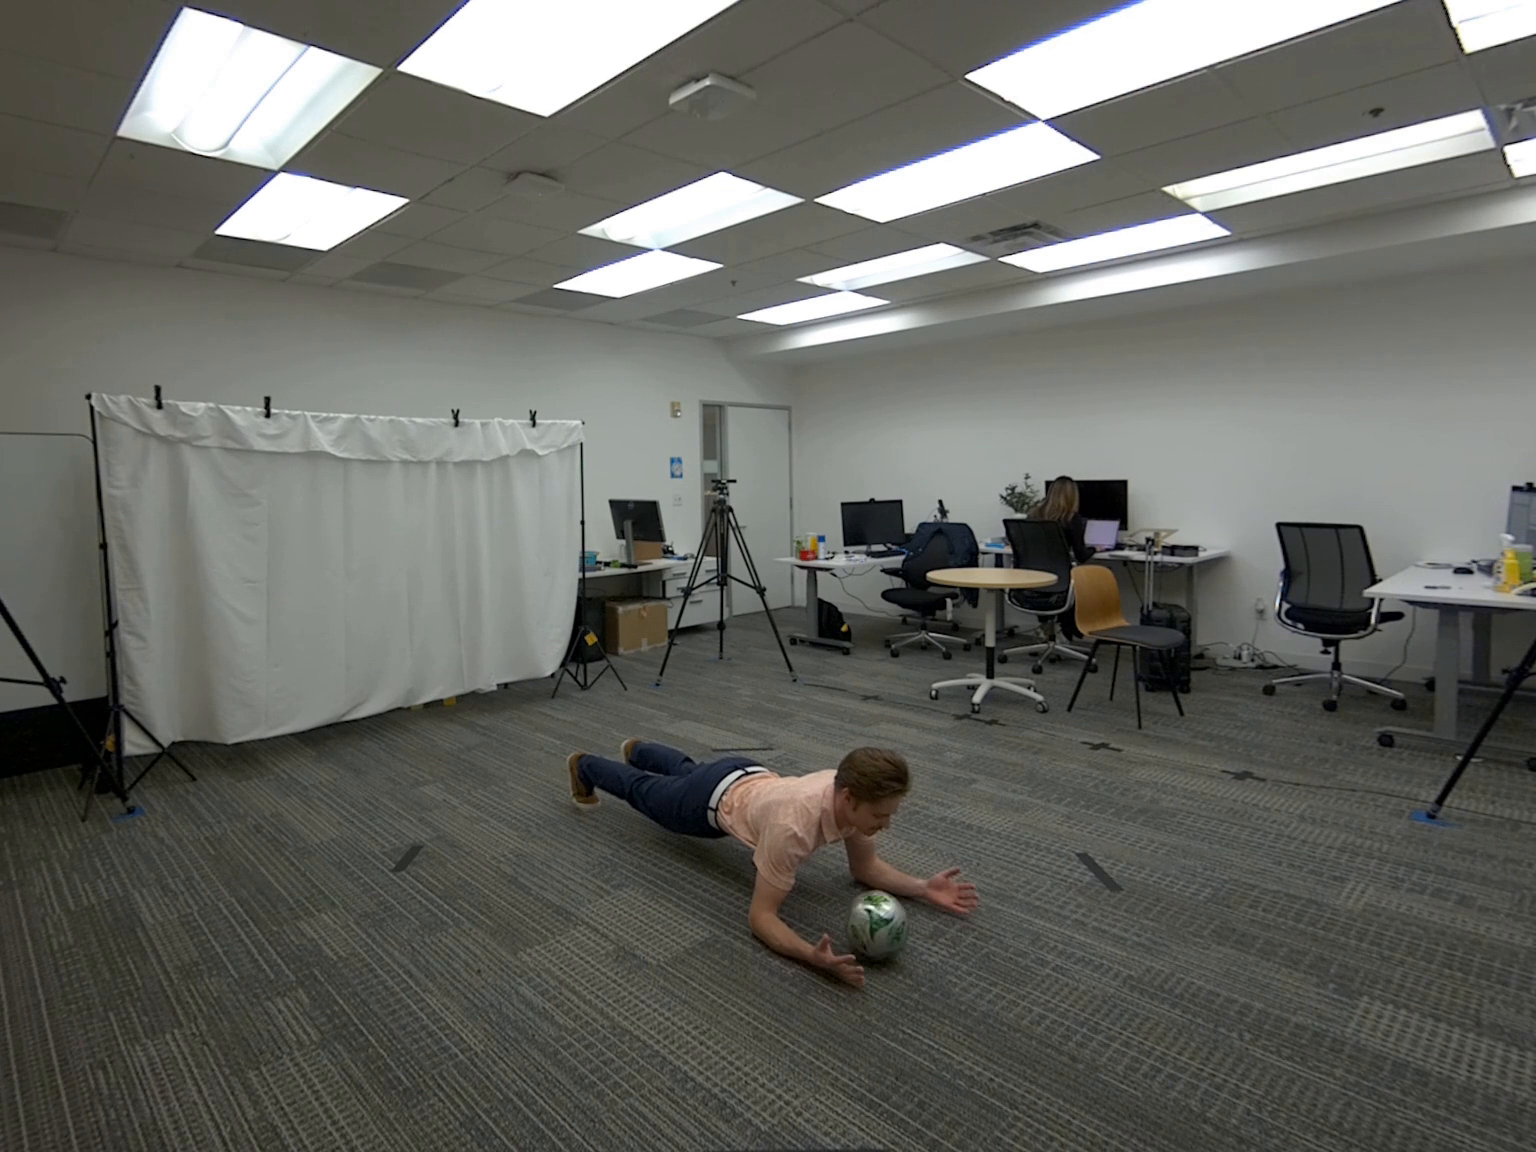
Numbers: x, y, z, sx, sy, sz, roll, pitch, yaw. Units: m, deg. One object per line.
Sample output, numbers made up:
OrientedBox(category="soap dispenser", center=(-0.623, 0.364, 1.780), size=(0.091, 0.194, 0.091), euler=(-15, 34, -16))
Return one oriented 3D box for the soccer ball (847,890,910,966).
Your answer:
OrientedBox(category="soccer ball", center=(0.319, 1.021, 2.489), size=(0.187, 0.187, 0.188), euler=(-1, 5, -2))
